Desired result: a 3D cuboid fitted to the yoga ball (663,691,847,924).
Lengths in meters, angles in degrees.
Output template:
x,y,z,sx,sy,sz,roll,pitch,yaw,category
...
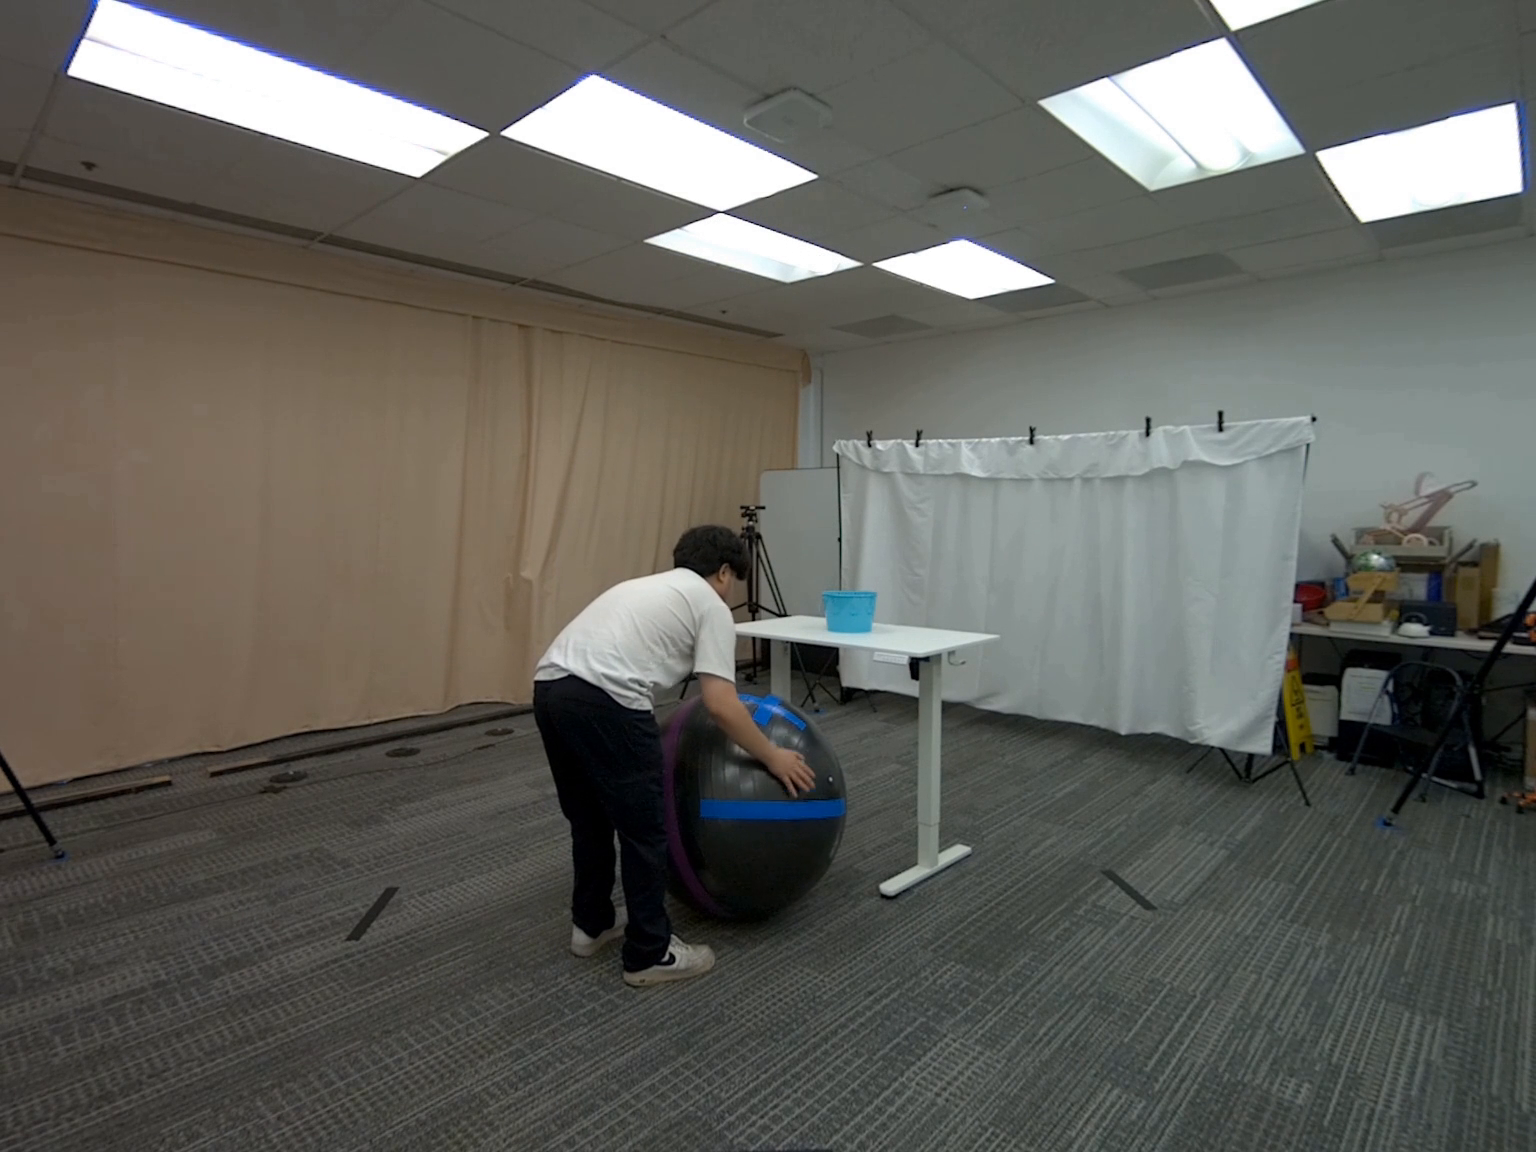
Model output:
x,y,z,sx,sy,sz,roll,pitch,yaw,category
-0.107,0.789,2.924,0.757,0.756,0.760,0,4,-2,yoga ball
